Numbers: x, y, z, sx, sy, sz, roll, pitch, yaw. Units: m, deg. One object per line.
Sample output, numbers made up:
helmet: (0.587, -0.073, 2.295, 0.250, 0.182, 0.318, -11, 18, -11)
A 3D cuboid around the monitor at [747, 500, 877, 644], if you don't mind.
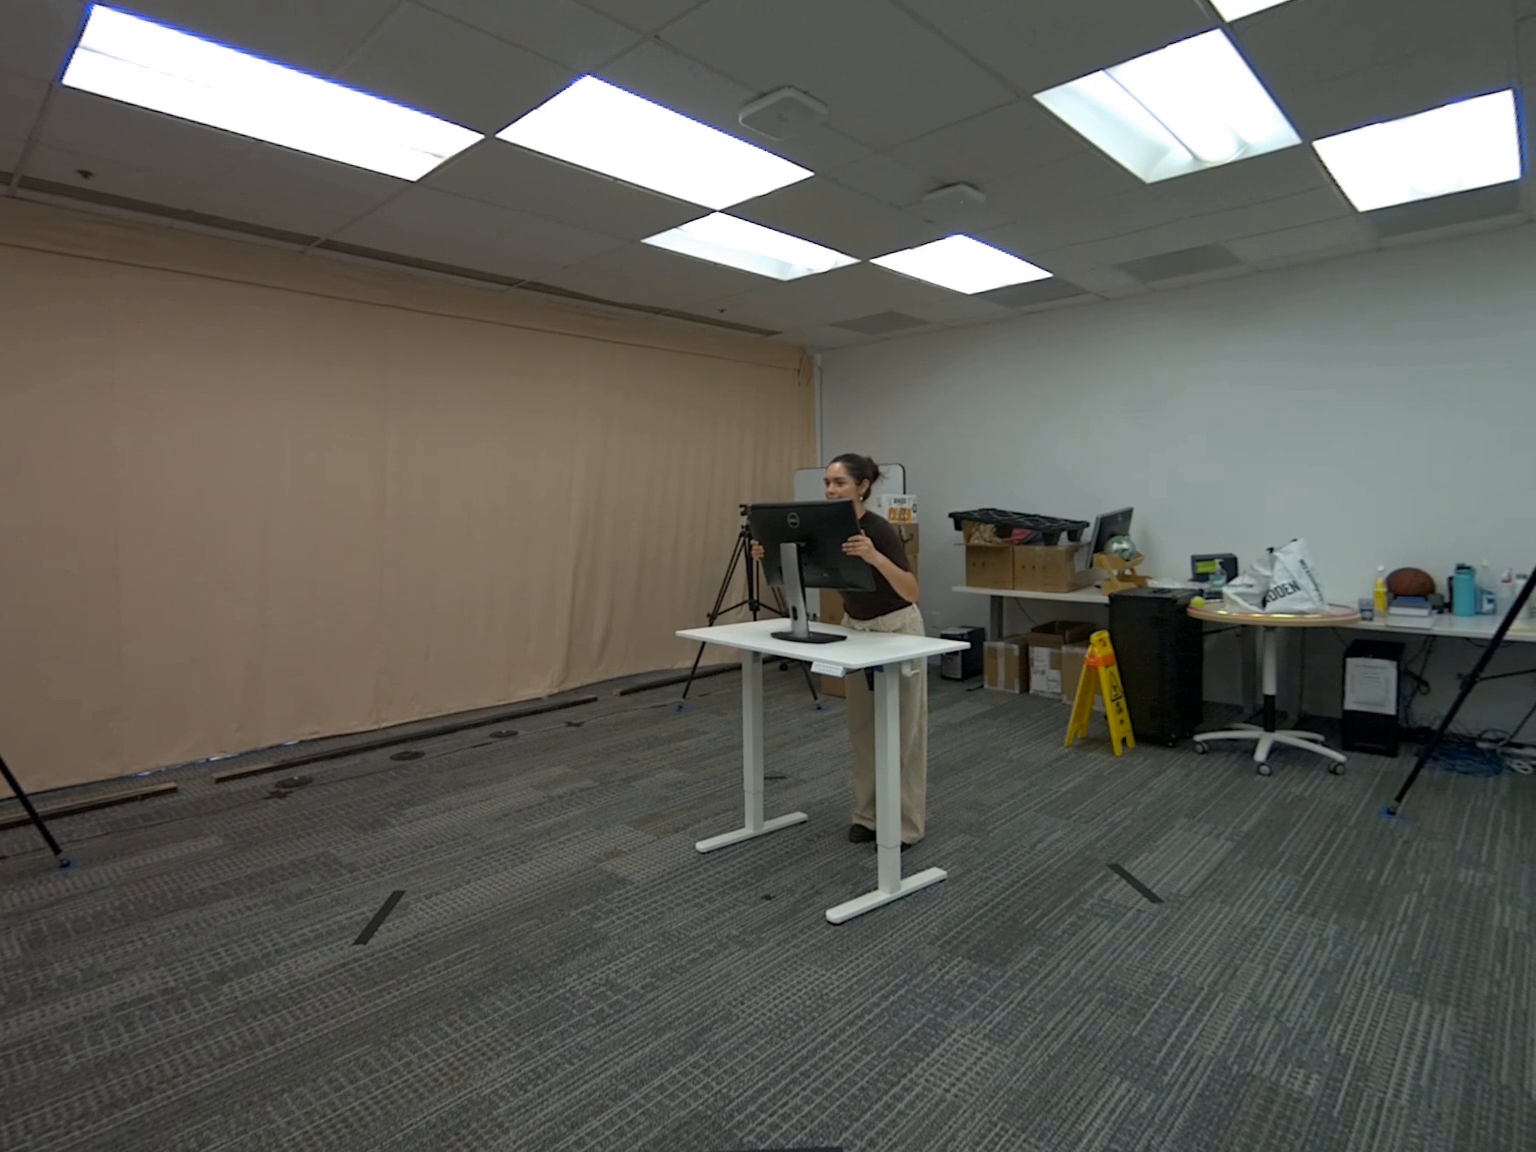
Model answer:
monitor: (0.136, -0.017, 3.157, 0.557, 0.520, 0.182, 2, 9, 45)
